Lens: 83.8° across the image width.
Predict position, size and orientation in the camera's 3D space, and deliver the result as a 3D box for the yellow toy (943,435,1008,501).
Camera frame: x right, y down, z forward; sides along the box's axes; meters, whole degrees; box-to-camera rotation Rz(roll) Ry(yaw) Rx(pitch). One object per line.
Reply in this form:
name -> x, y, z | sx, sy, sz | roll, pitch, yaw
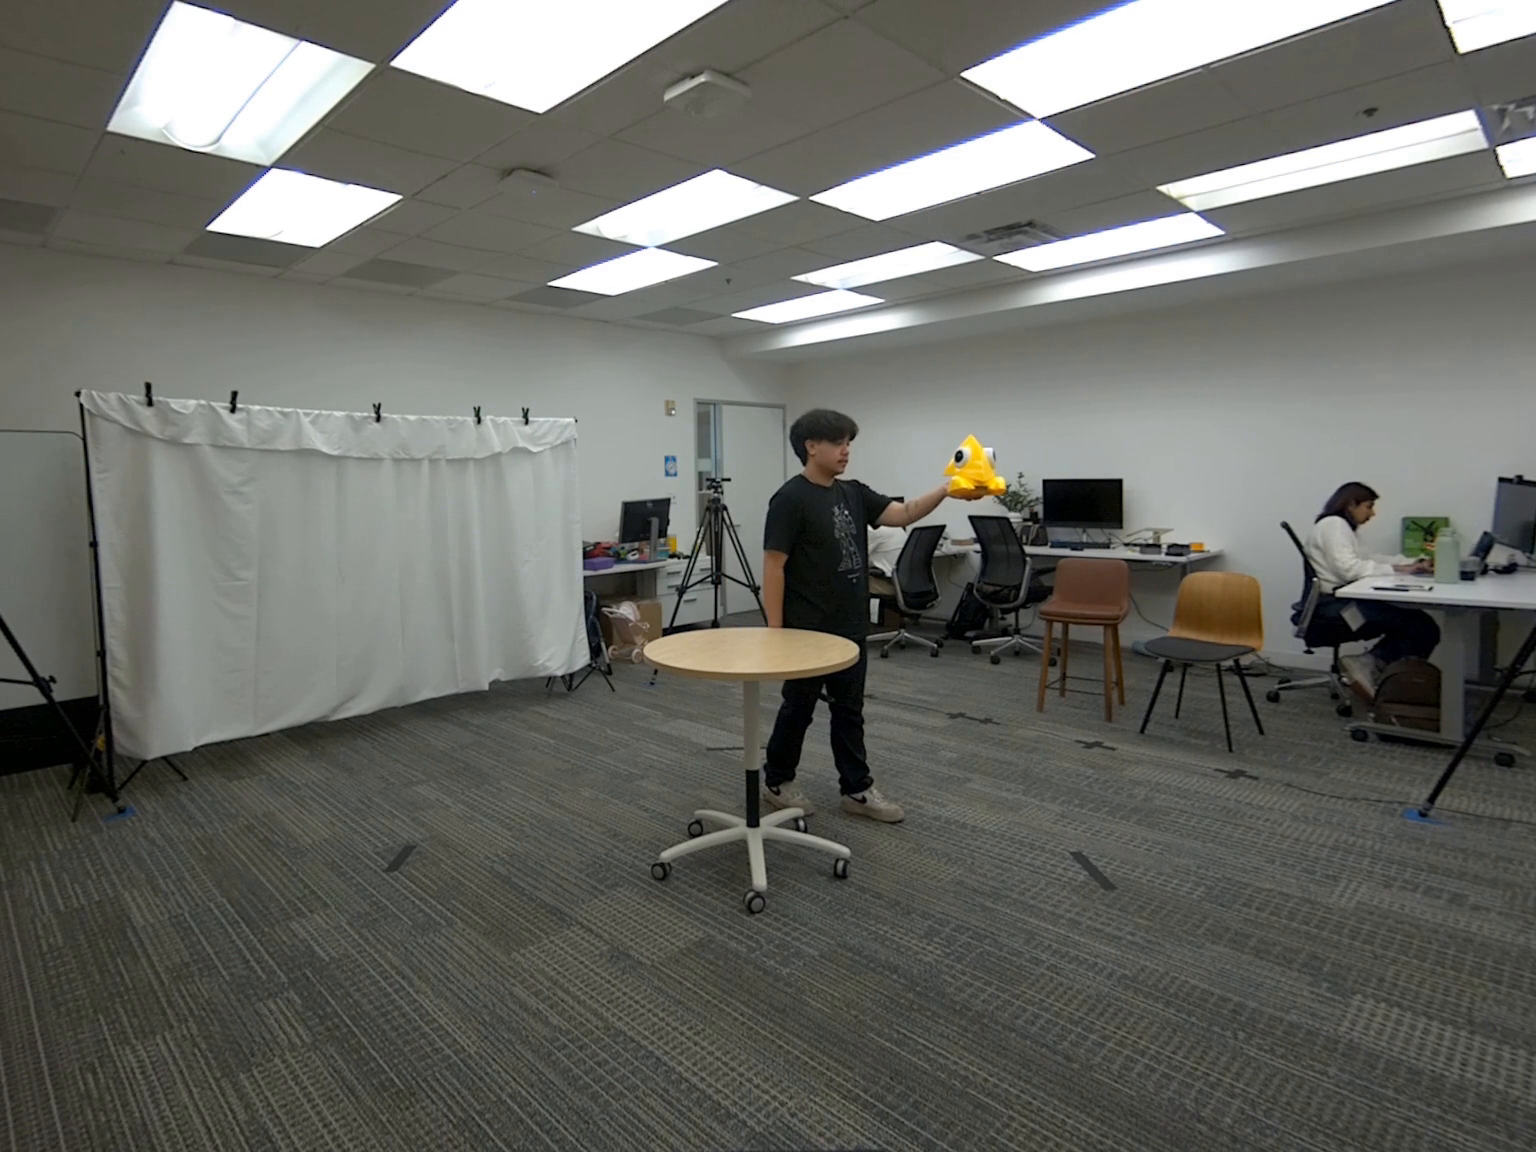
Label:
yellow toy -> 0.769, -0.422, 3.130 | 0.204, 0.232, 0.192 | 1, -6, -3
